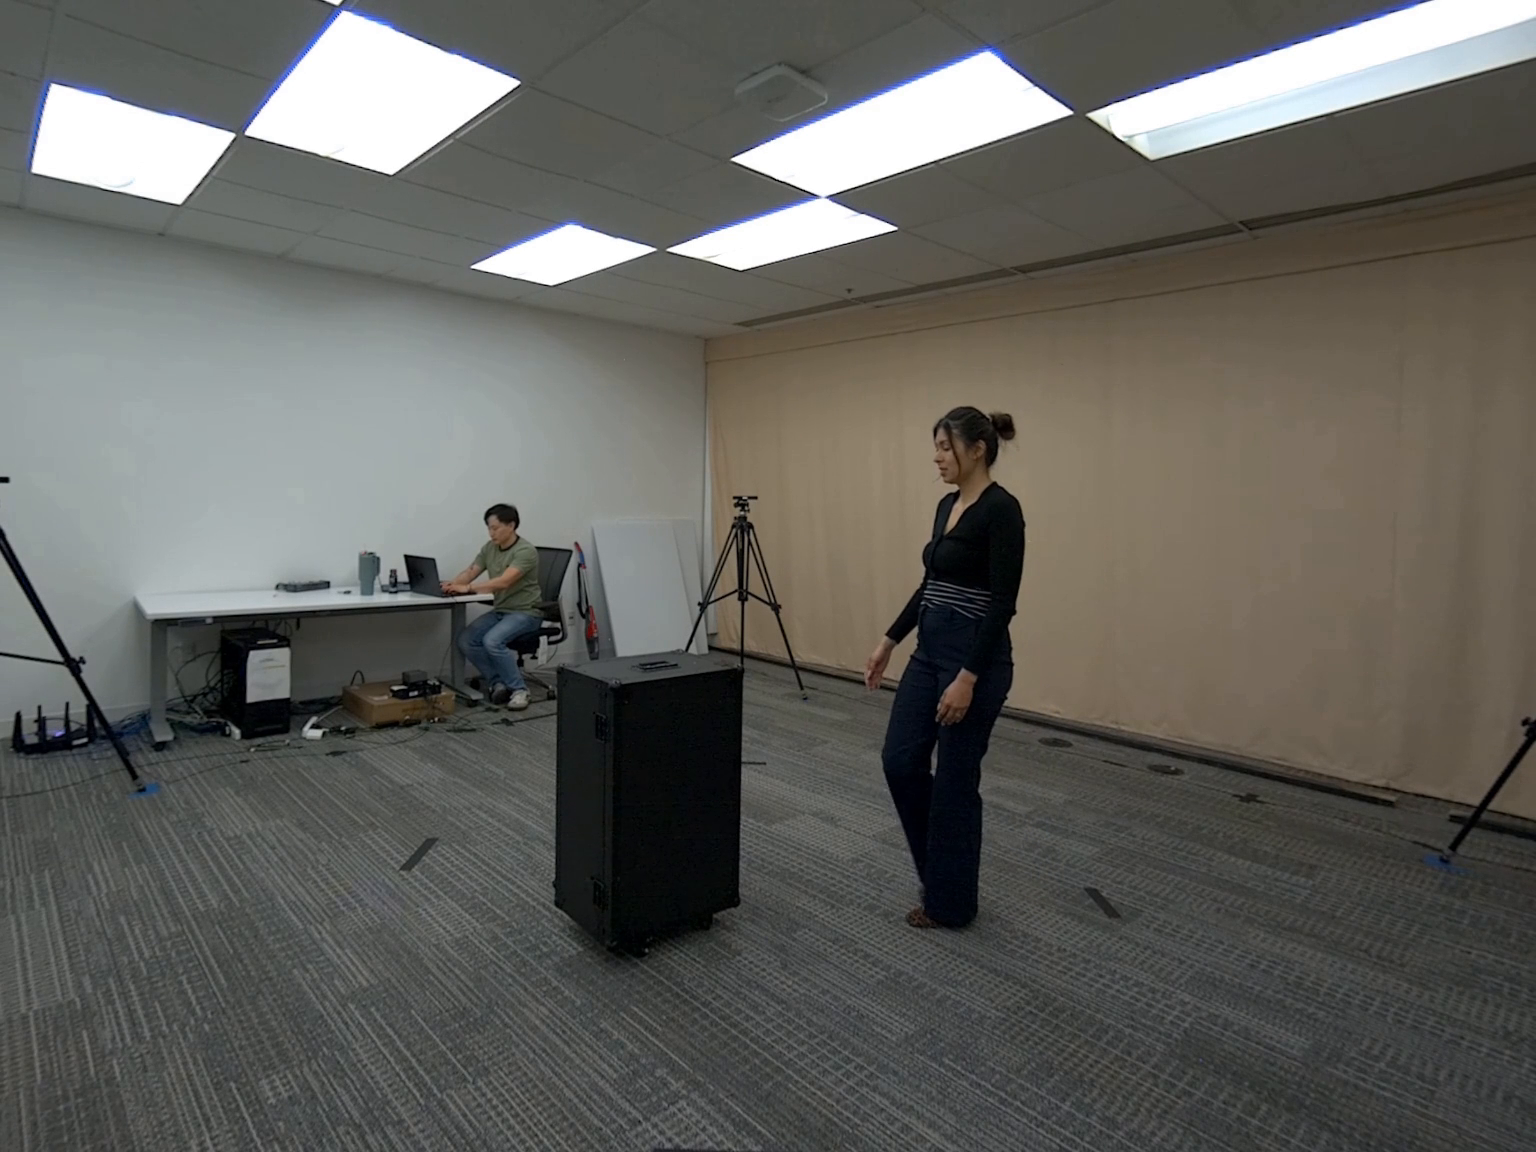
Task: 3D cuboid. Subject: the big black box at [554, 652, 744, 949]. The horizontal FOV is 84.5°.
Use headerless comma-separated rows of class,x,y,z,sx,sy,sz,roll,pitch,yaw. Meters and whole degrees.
big black box,-0.393,0.711,2.698,0.509,0.860,0.406,-2,3,-40
